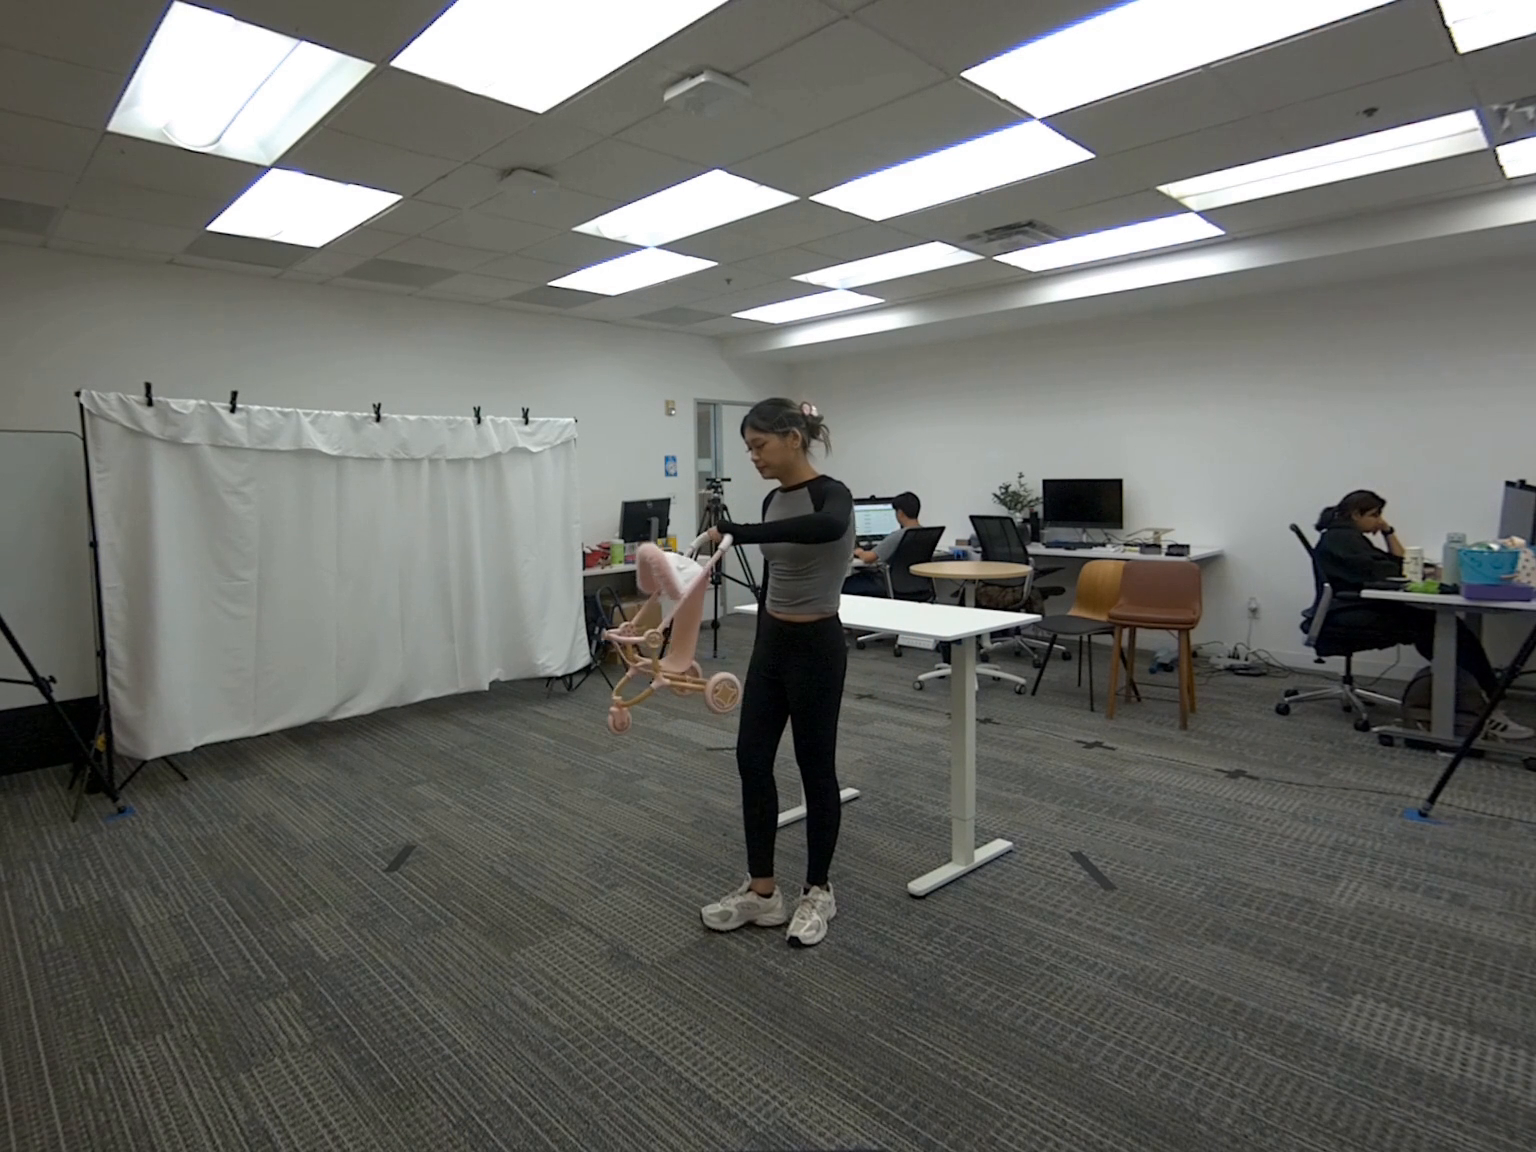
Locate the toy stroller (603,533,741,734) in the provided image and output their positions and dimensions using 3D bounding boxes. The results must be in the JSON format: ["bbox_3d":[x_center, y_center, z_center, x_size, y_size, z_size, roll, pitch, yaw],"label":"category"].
[{"bbox_3d":[-0.271,0.148,2.293,0.334,0.534,0.288,0,2,-23],"label":"toy stroller"}]
